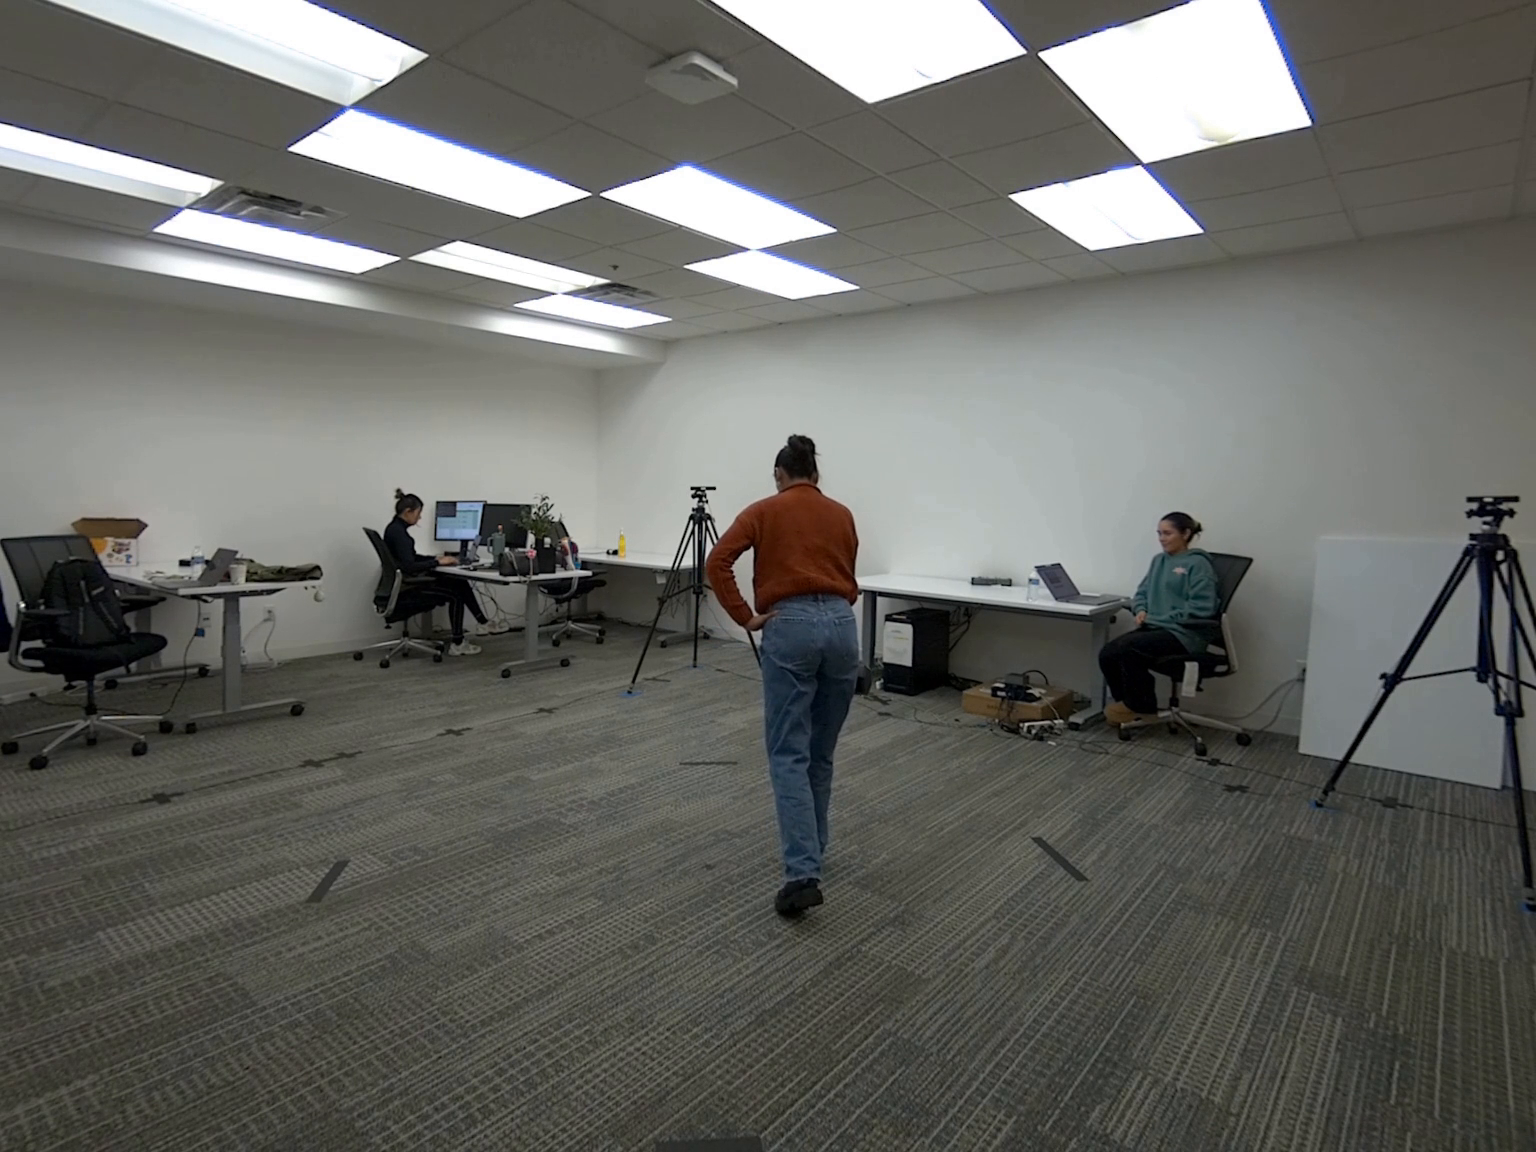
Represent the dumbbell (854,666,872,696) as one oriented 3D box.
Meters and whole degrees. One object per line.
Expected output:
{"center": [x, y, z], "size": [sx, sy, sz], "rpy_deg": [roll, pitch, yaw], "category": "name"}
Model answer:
{"center": [0.242, 0.390, 3.284], "size": [0.302, 0.121, 0.107], "rpy_deg": [2, 13, 29], "category": "dumbbell"}
